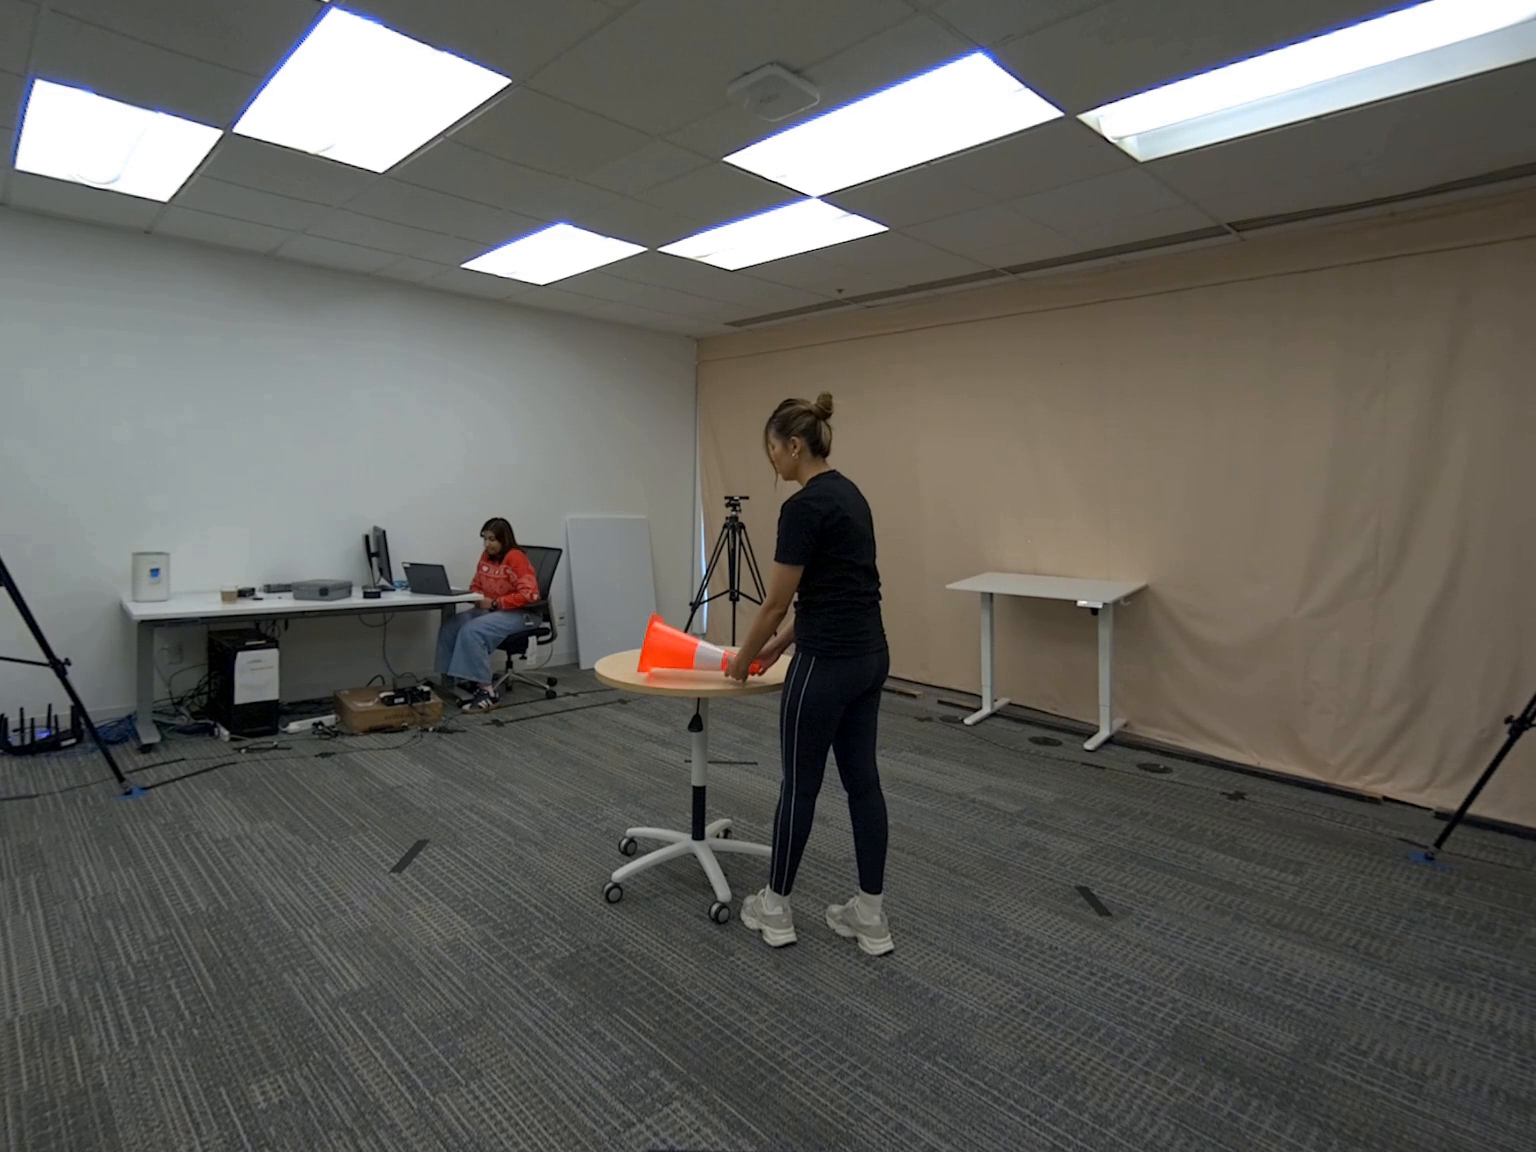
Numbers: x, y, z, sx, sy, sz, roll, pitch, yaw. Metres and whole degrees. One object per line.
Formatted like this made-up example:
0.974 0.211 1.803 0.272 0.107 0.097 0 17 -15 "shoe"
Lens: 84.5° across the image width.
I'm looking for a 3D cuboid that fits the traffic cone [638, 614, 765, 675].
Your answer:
-0.214 0.270 2.789 0.386 0.205 0.202 11 2 6 "traffic cone"
